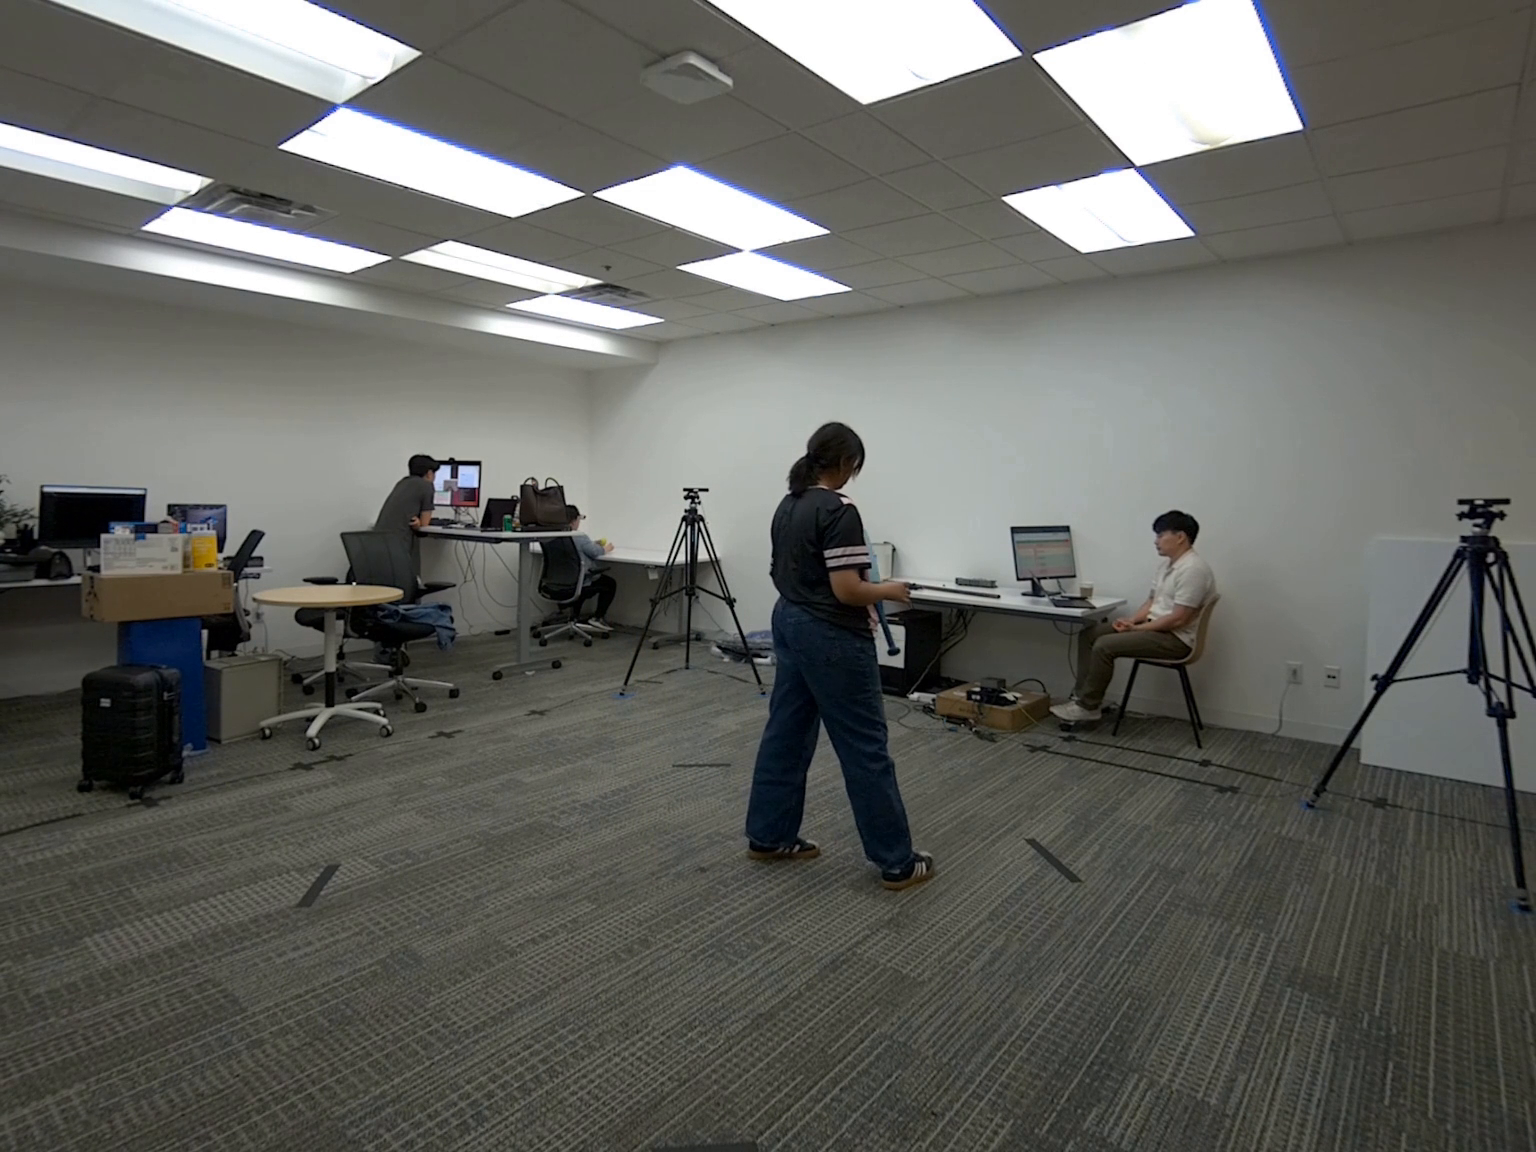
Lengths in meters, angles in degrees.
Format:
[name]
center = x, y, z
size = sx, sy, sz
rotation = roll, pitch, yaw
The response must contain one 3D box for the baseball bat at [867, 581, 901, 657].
[baseball bat]
center = 0.438, 0.055, 3.326
size = 0.088, 0.559, 0.087
rotation = -11, -27, -7
